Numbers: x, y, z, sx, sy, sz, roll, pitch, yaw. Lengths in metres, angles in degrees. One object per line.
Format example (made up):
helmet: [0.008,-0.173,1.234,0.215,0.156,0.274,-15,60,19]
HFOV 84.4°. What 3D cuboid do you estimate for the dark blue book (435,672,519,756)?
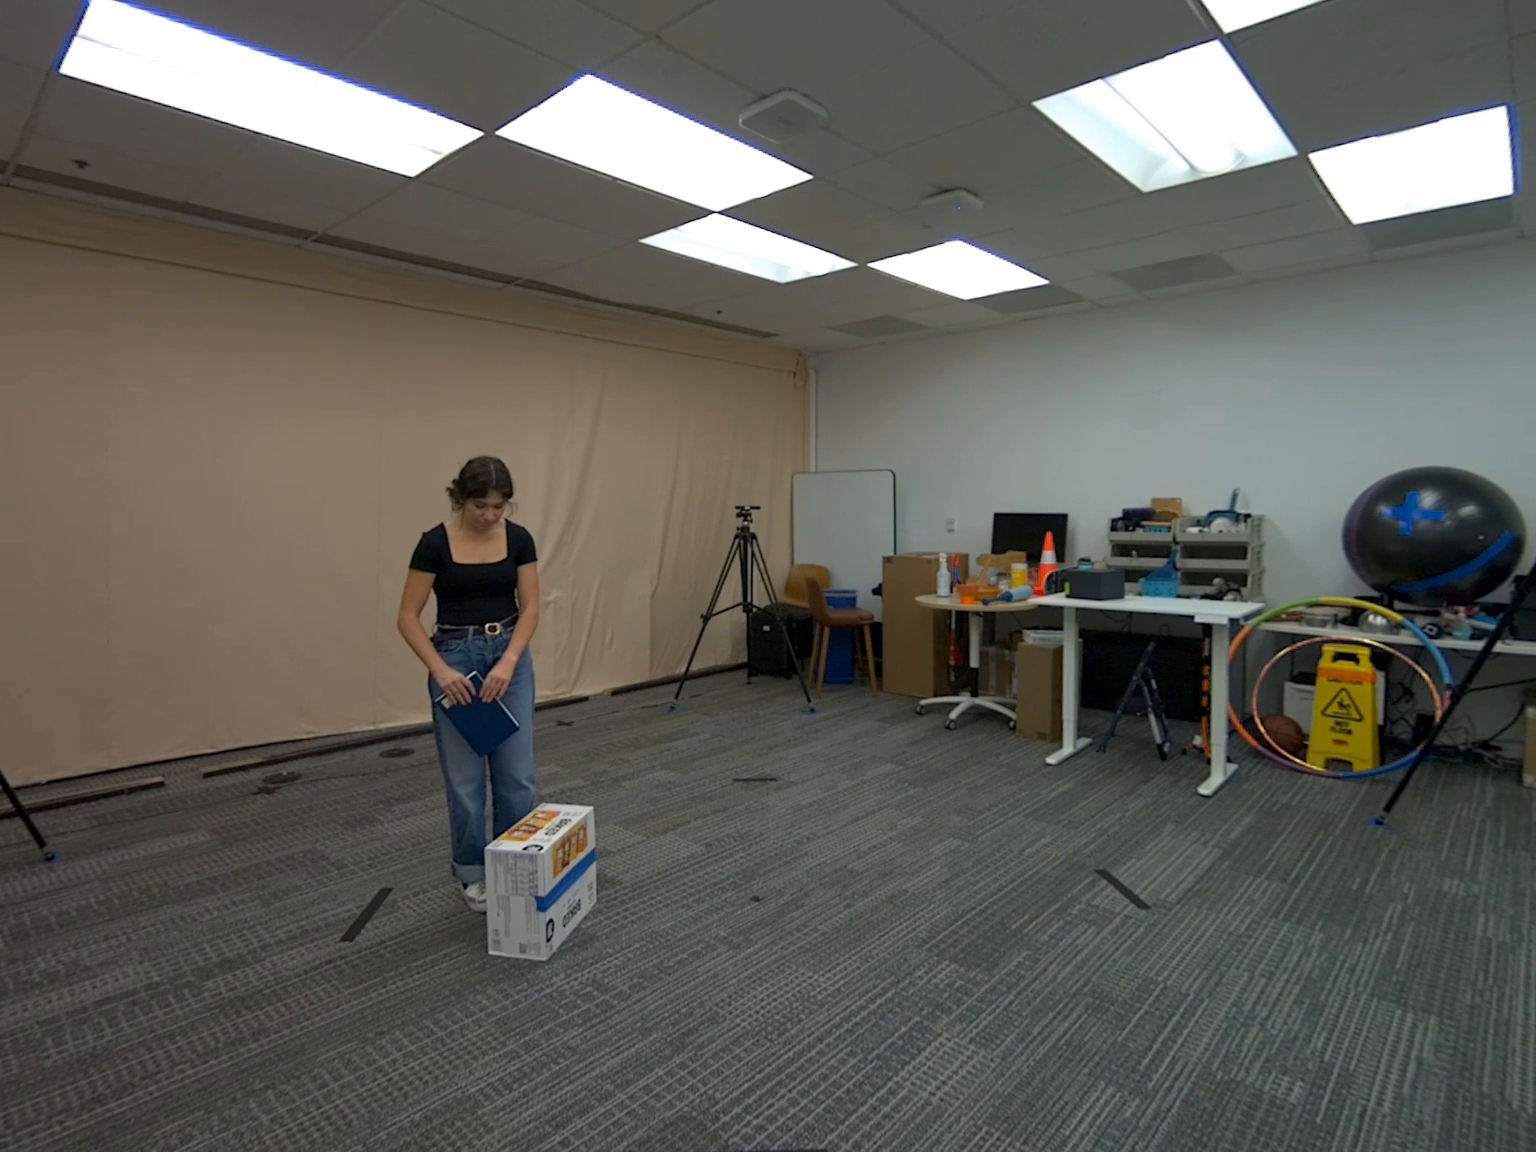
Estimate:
dark blue book: [-0.971,0.459,2.795,0.163,0.243,0.046,-37,9,-9]
